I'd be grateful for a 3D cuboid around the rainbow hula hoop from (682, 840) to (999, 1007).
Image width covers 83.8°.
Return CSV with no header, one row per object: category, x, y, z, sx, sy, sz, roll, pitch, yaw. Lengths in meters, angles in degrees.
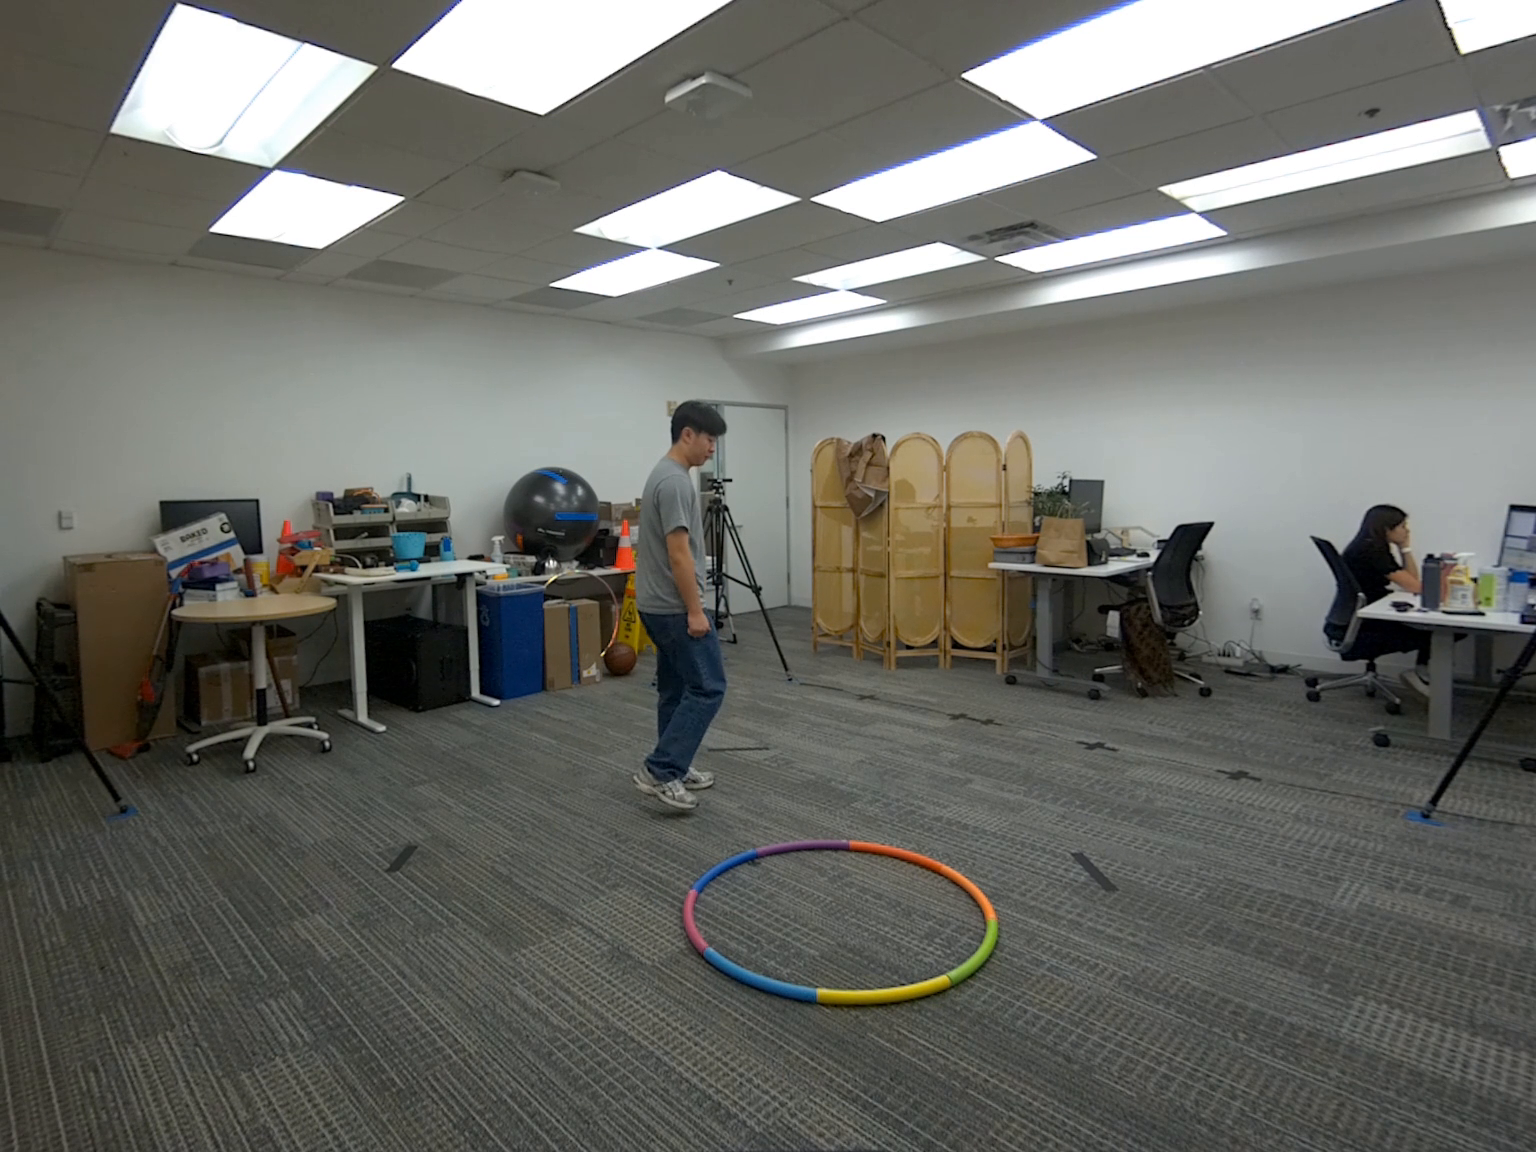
rainbow hula hoop,0.216,1.055,2.740,0.978,0.035,0.984,-2,7,-2
